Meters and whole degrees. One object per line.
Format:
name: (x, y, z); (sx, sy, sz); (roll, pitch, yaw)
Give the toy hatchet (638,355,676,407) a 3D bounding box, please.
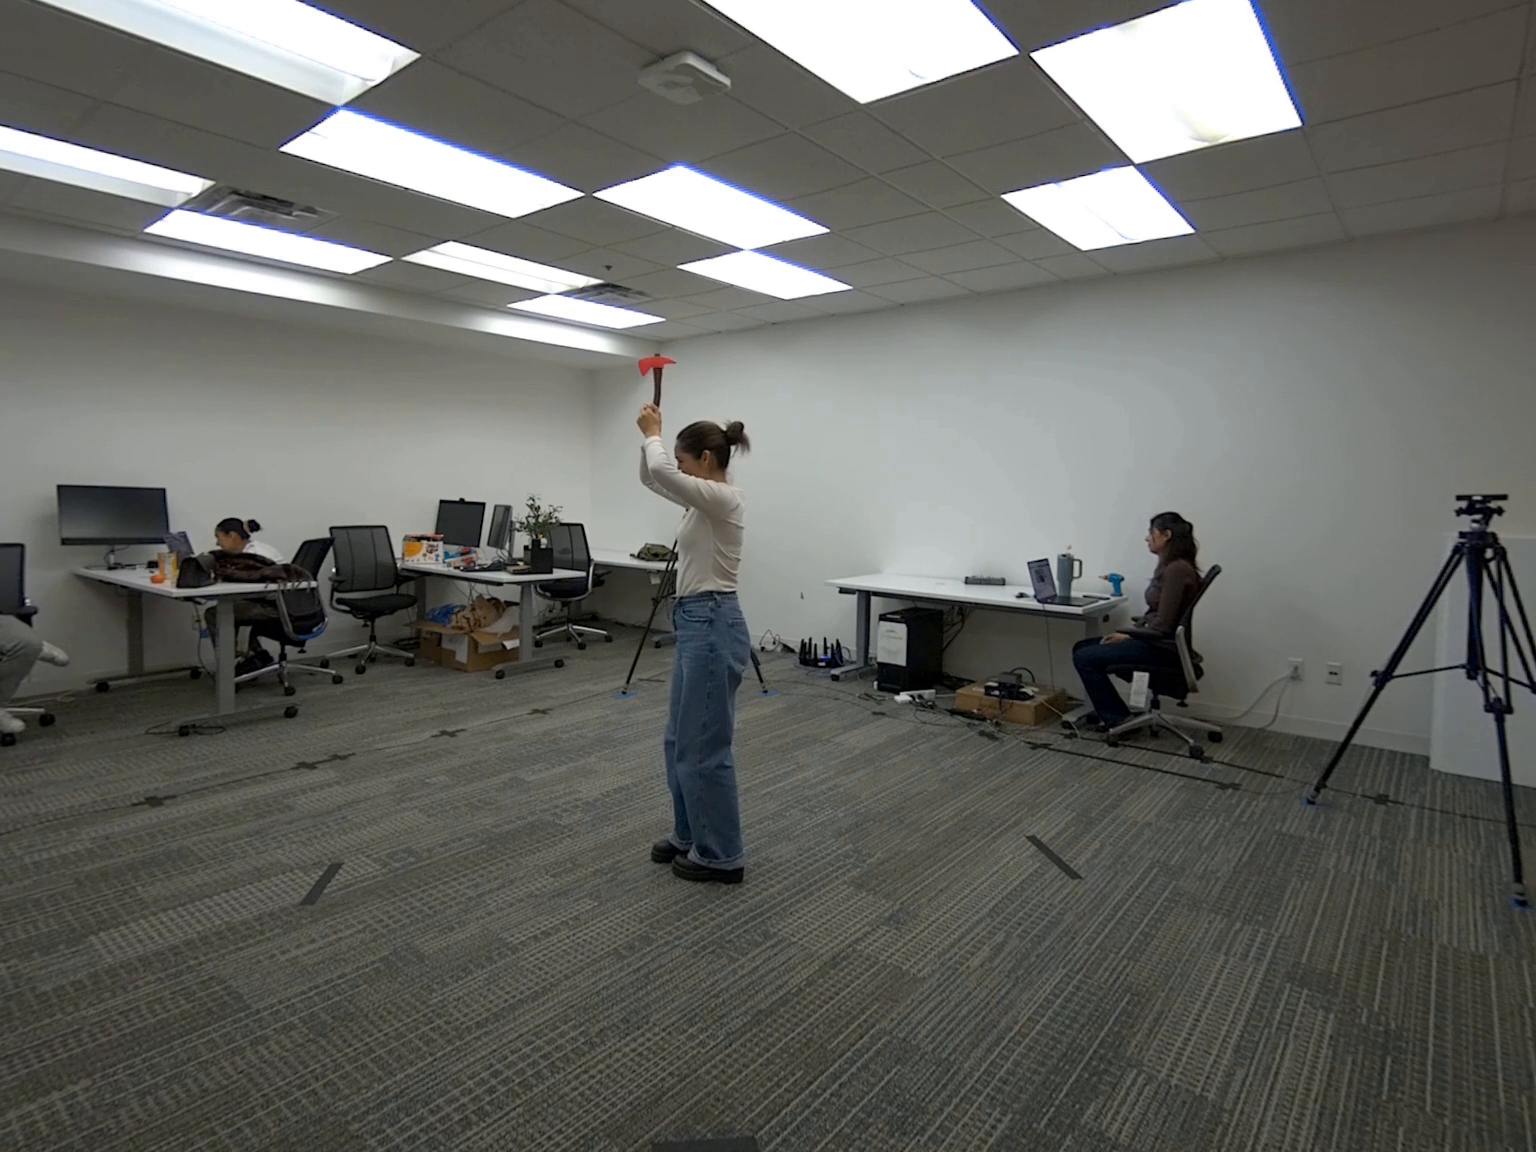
toy hatchet: (-0.444, -0.671, 3.042); (0.130, 0.270, 0.030); (20, 1, -3)
